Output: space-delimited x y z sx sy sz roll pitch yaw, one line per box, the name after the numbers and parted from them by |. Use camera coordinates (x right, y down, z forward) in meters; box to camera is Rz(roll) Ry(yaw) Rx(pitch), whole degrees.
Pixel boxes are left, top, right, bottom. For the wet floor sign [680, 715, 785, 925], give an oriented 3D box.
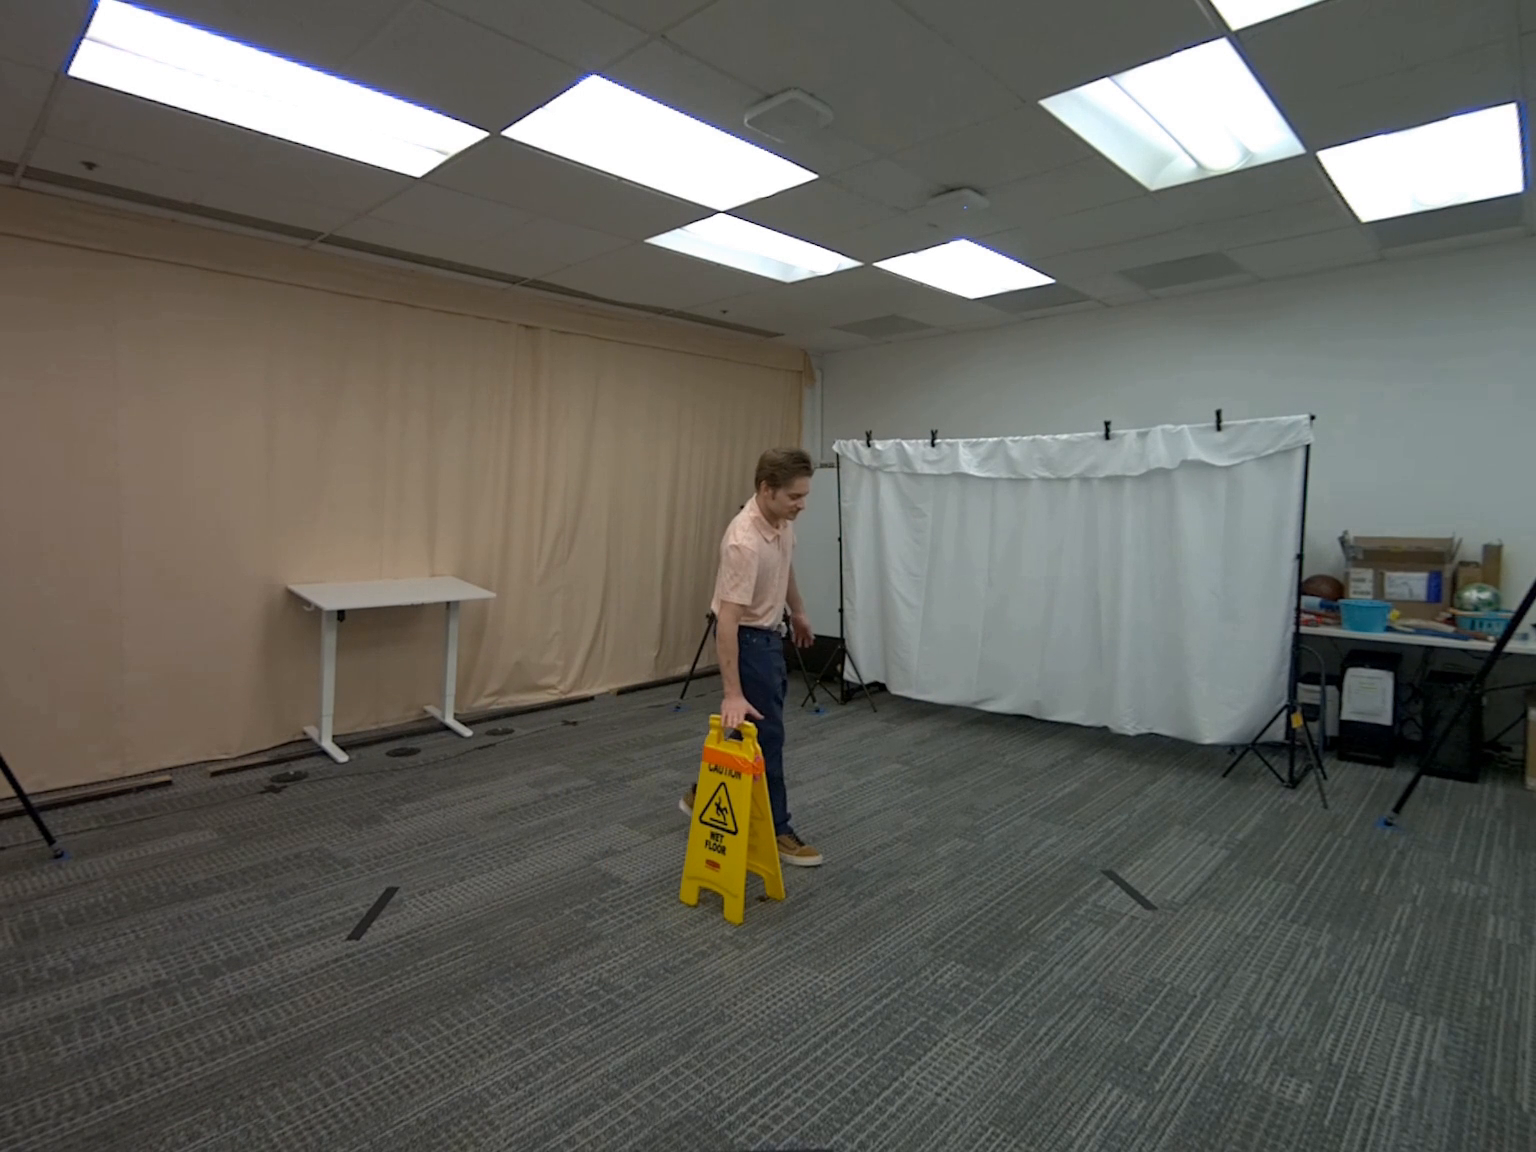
-0.122 0.816 2.961 0.291 0.645 0.281 3 5 40 | wet floor sign
